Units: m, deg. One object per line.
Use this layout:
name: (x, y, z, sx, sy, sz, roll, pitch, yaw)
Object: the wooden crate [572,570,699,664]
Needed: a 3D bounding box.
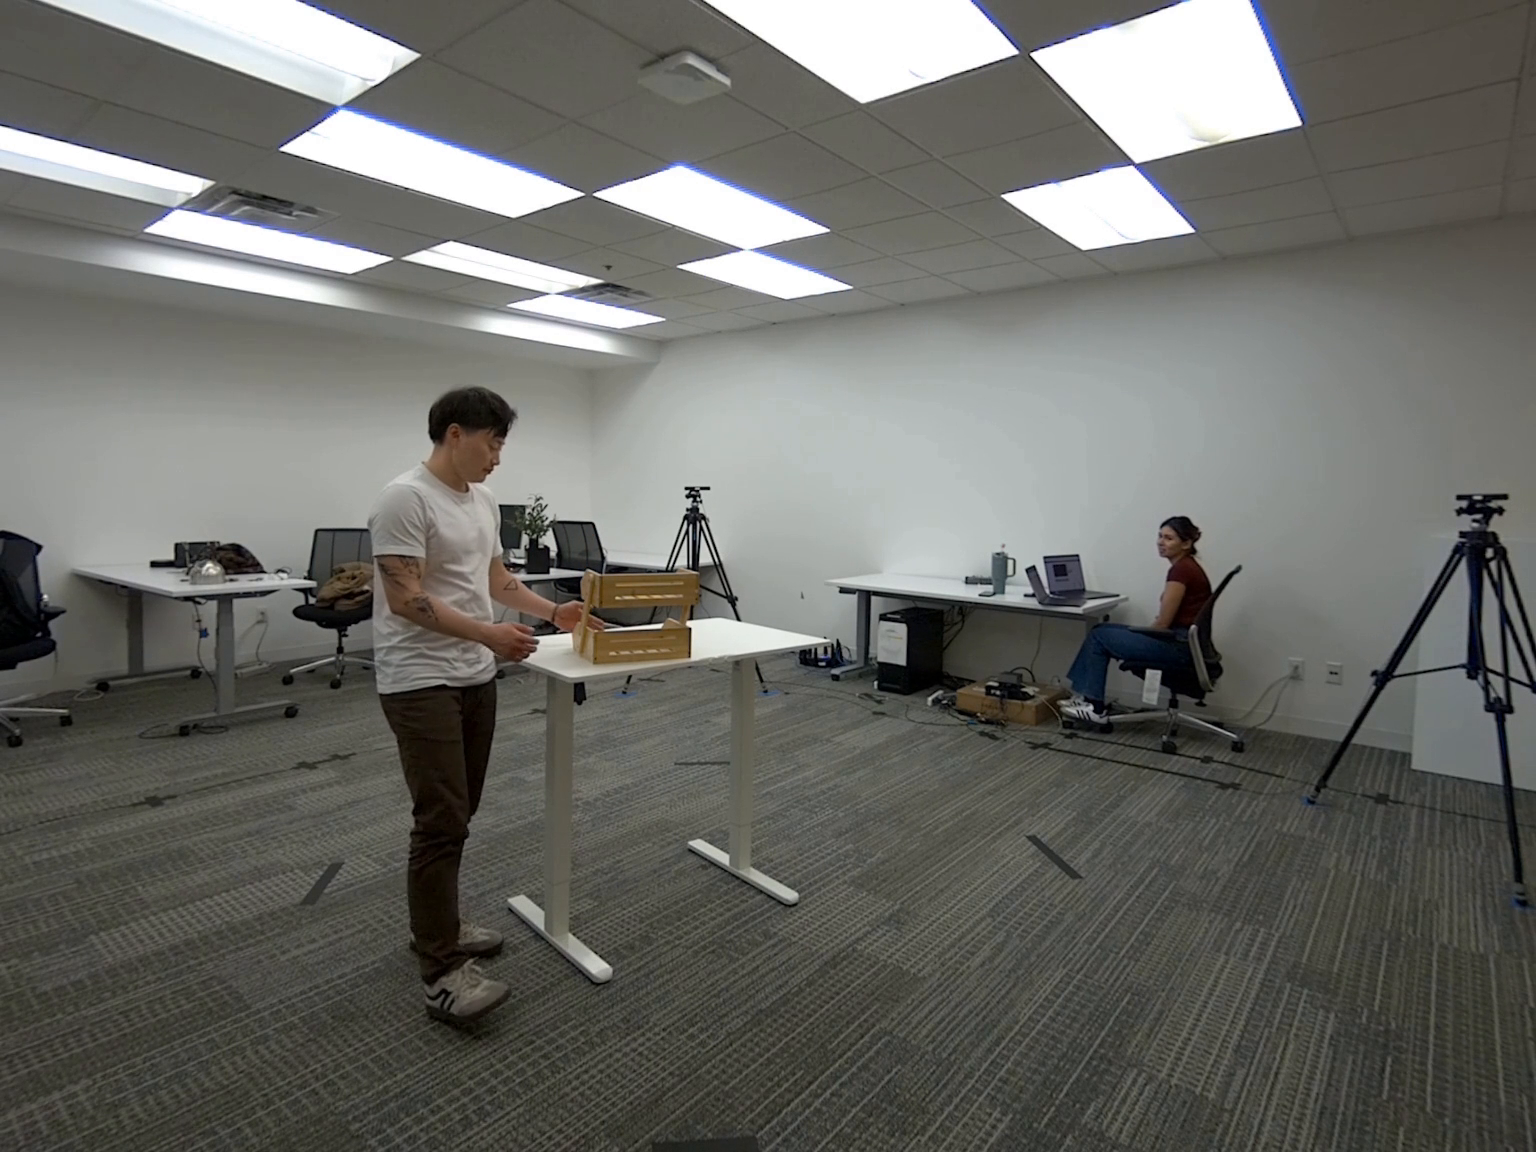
wooden crate: (-0.422, 0.108, 2.559, 0.317, 0.272, 0.311, -2, 6, -26)
